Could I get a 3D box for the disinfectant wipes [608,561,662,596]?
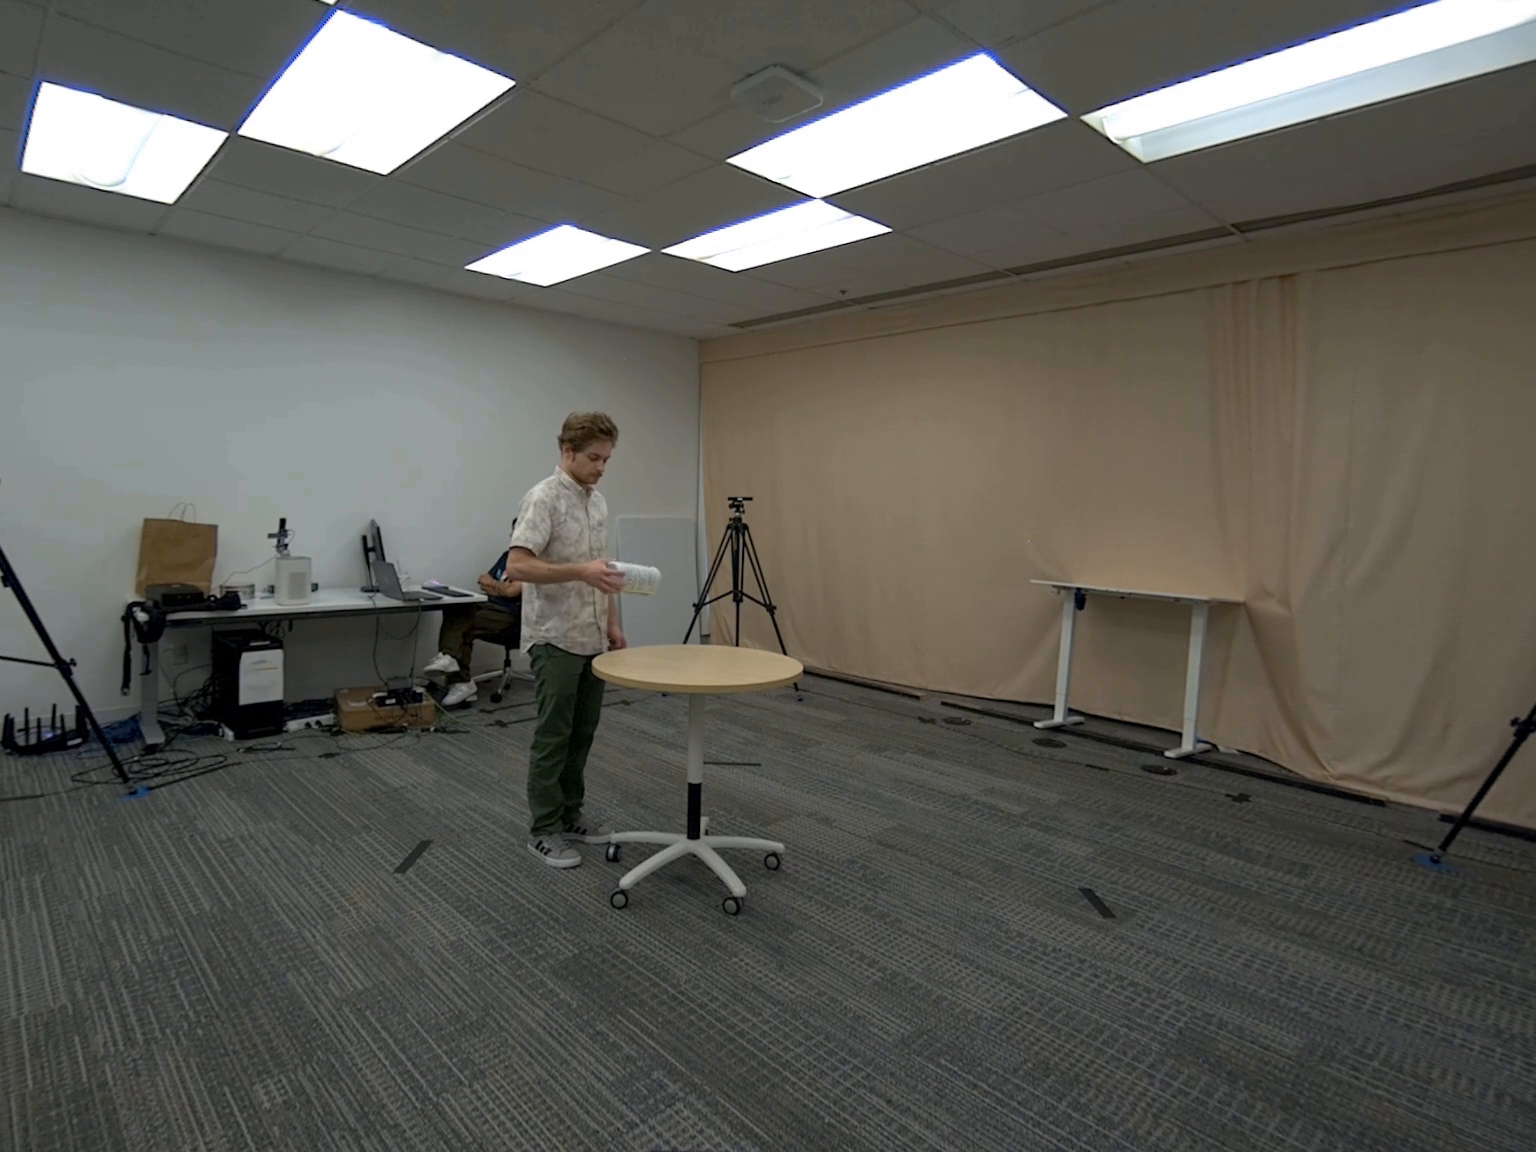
[{"bbox_3d":[-0.502,0.011,3.055,0.120,0.118,0.212,4,-2,34],"label":"disinfectant wipes"}]
